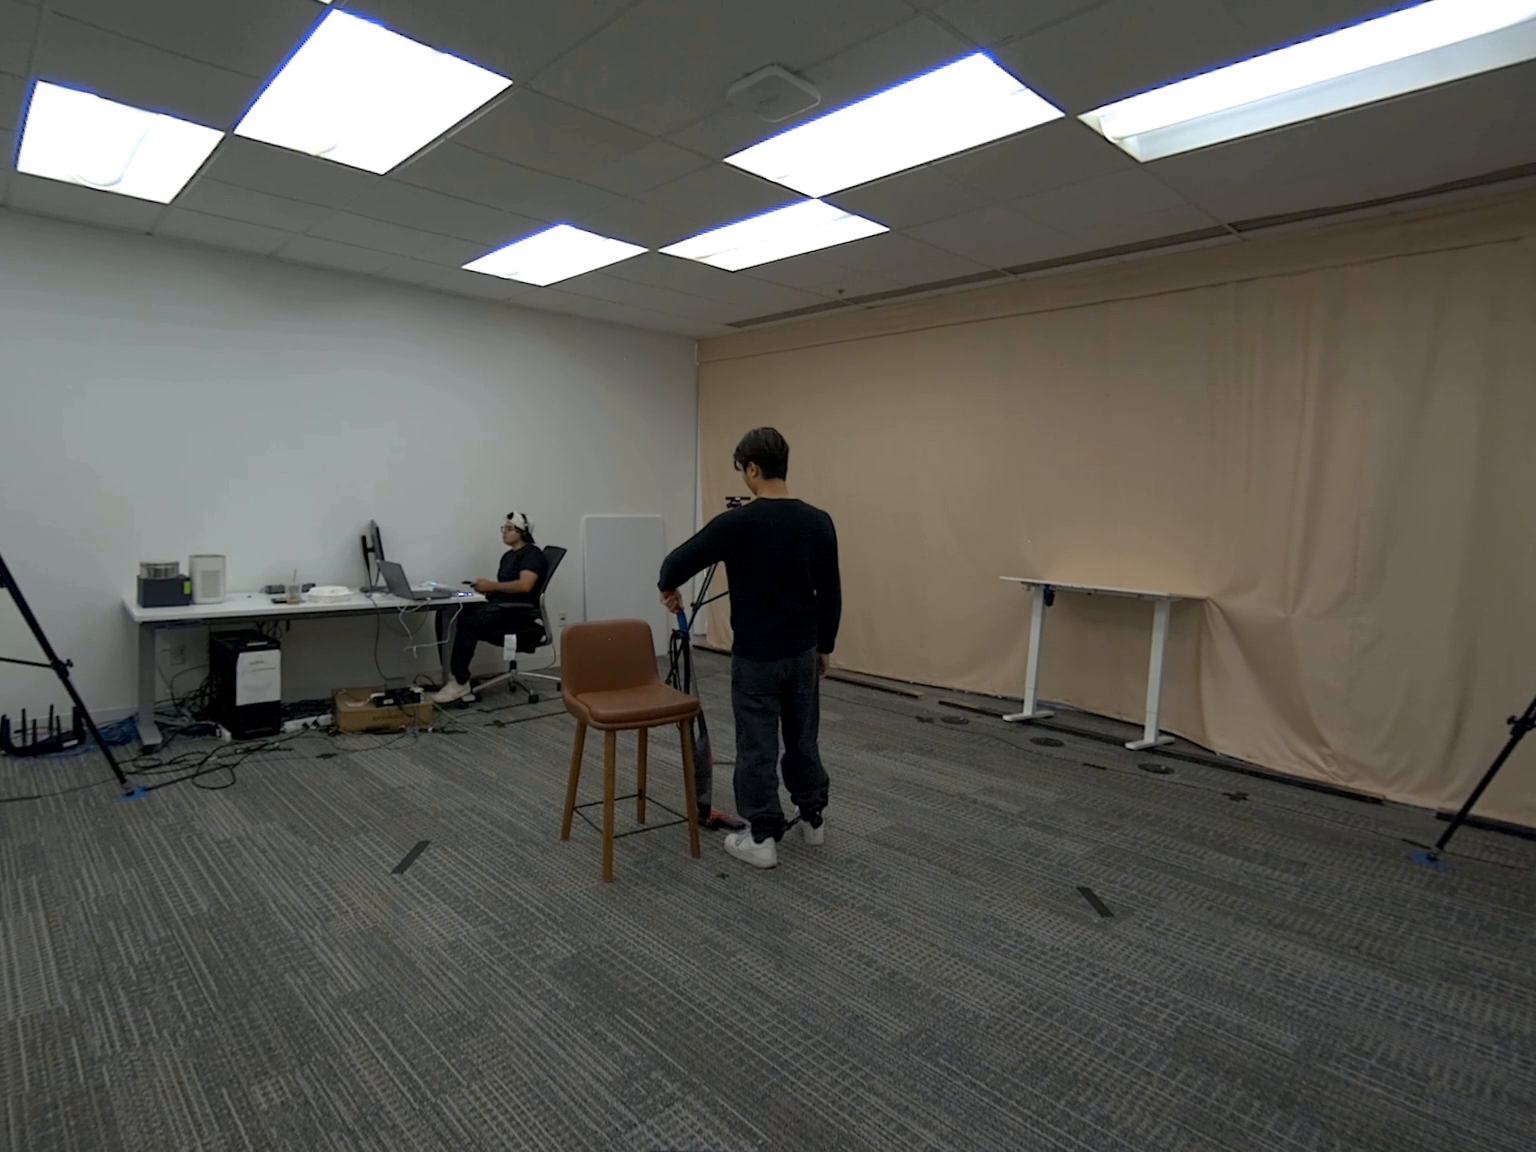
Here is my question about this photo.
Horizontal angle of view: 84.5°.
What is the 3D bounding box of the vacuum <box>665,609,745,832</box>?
[{"bbox_3d":[-0.319,0.560,3.492,0.142,1.037,0.259,-20,18,-39],"label":"vacuum"}]
